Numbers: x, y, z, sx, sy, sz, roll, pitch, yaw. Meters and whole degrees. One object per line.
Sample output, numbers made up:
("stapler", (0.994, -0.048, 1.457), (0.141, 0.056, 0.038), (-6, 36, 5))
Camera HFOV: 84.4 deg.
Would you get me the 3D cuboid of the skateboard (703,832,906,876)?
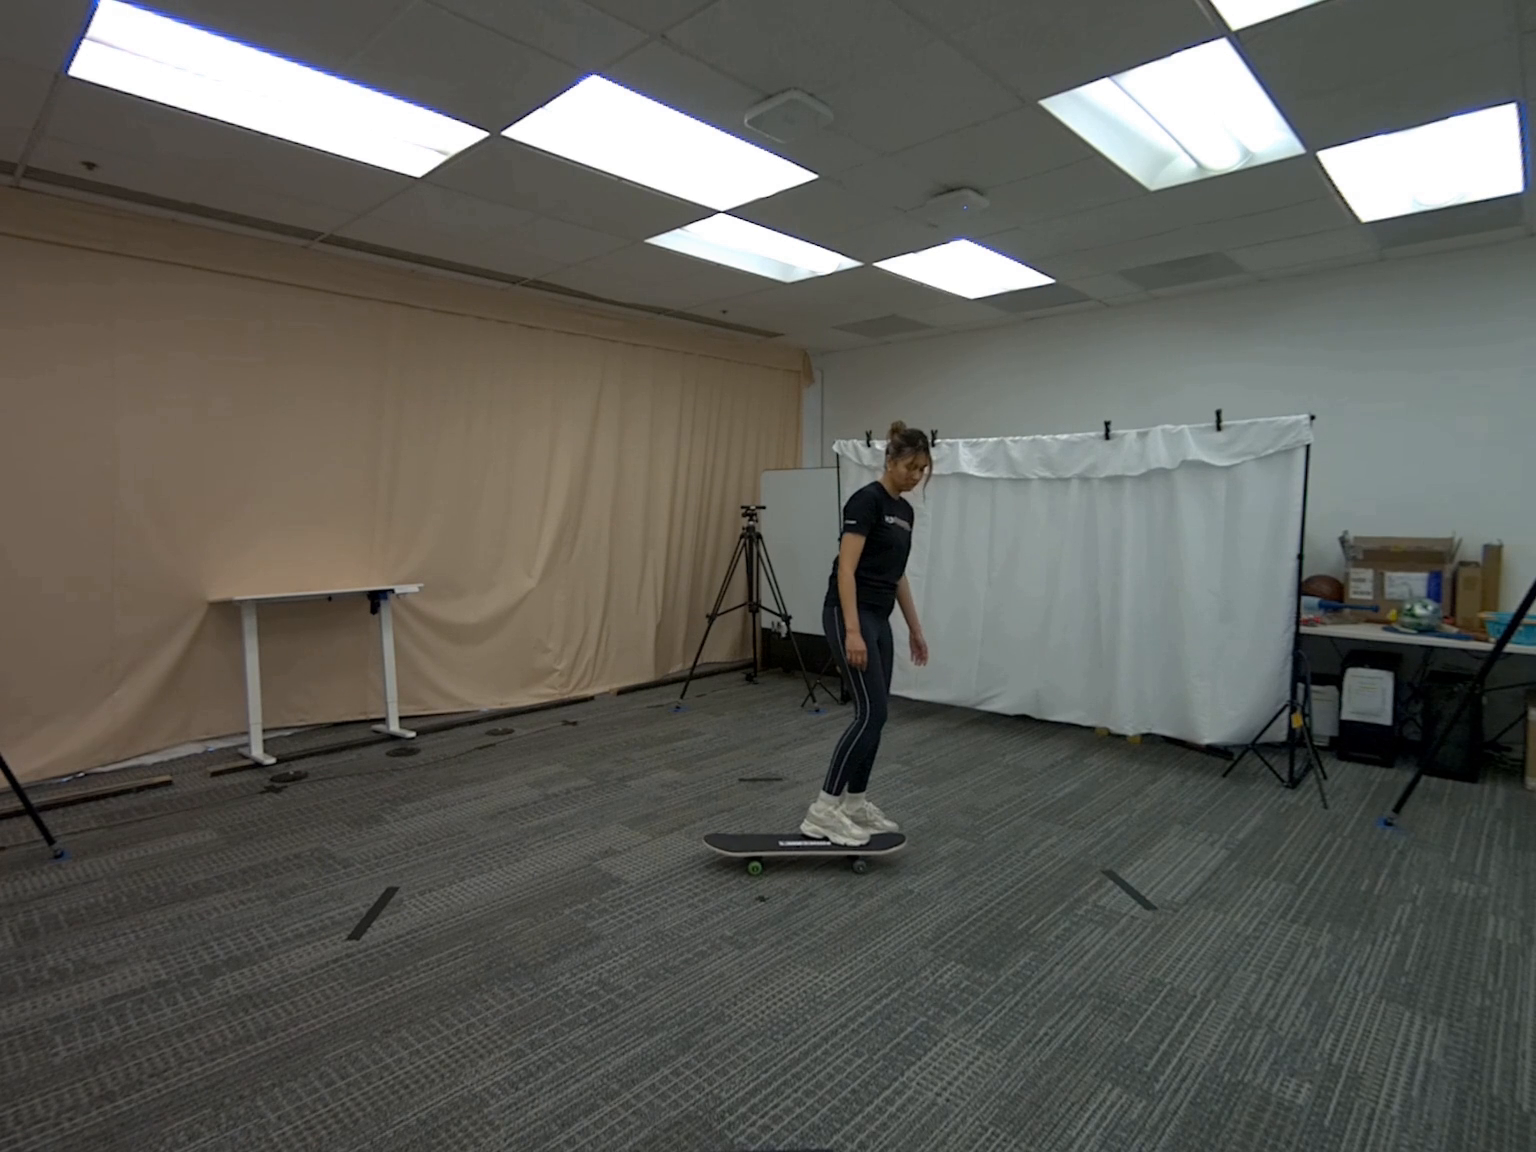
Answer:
("skateboard", (0.149, 1.063, 3.250), (0.784, 0.110, 0.194), (0, 3, -1))
